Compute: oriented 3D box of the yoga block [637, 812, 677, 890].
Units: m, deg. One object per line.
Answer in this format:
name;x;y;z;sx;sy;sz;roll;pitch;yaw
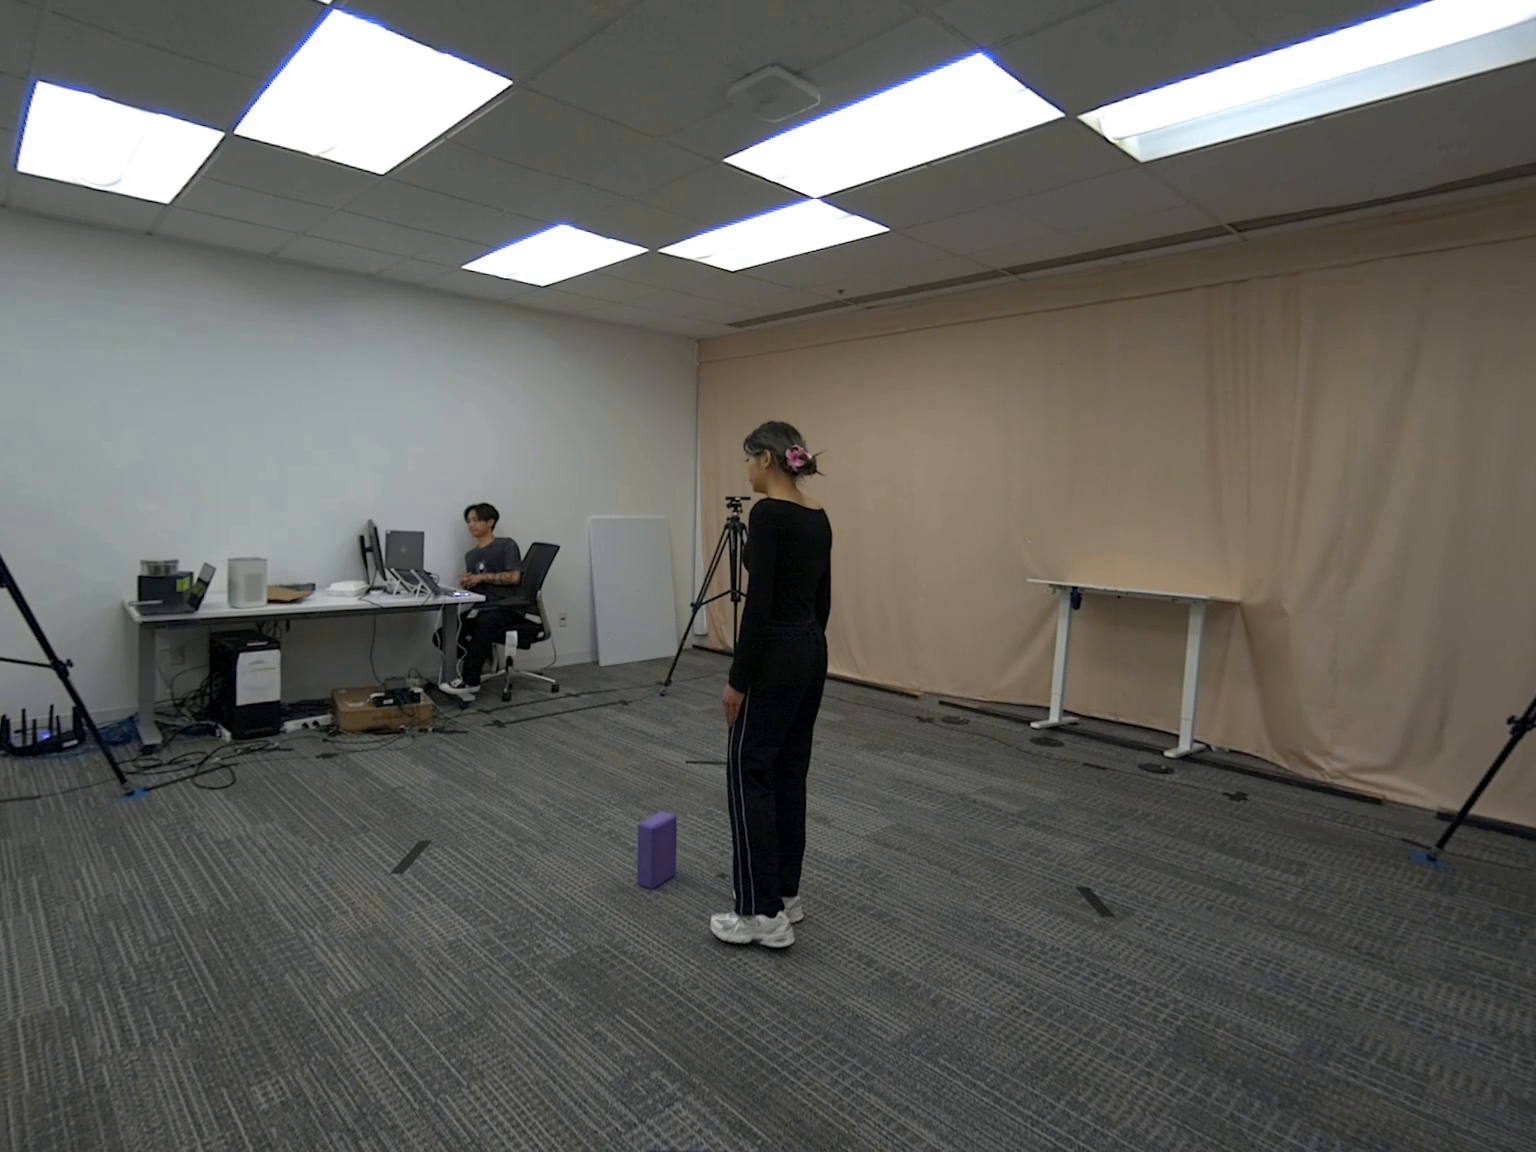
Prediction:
yoga block;-0.410;0.991;3.043;0.078;0.229;0.146;2;5;30
